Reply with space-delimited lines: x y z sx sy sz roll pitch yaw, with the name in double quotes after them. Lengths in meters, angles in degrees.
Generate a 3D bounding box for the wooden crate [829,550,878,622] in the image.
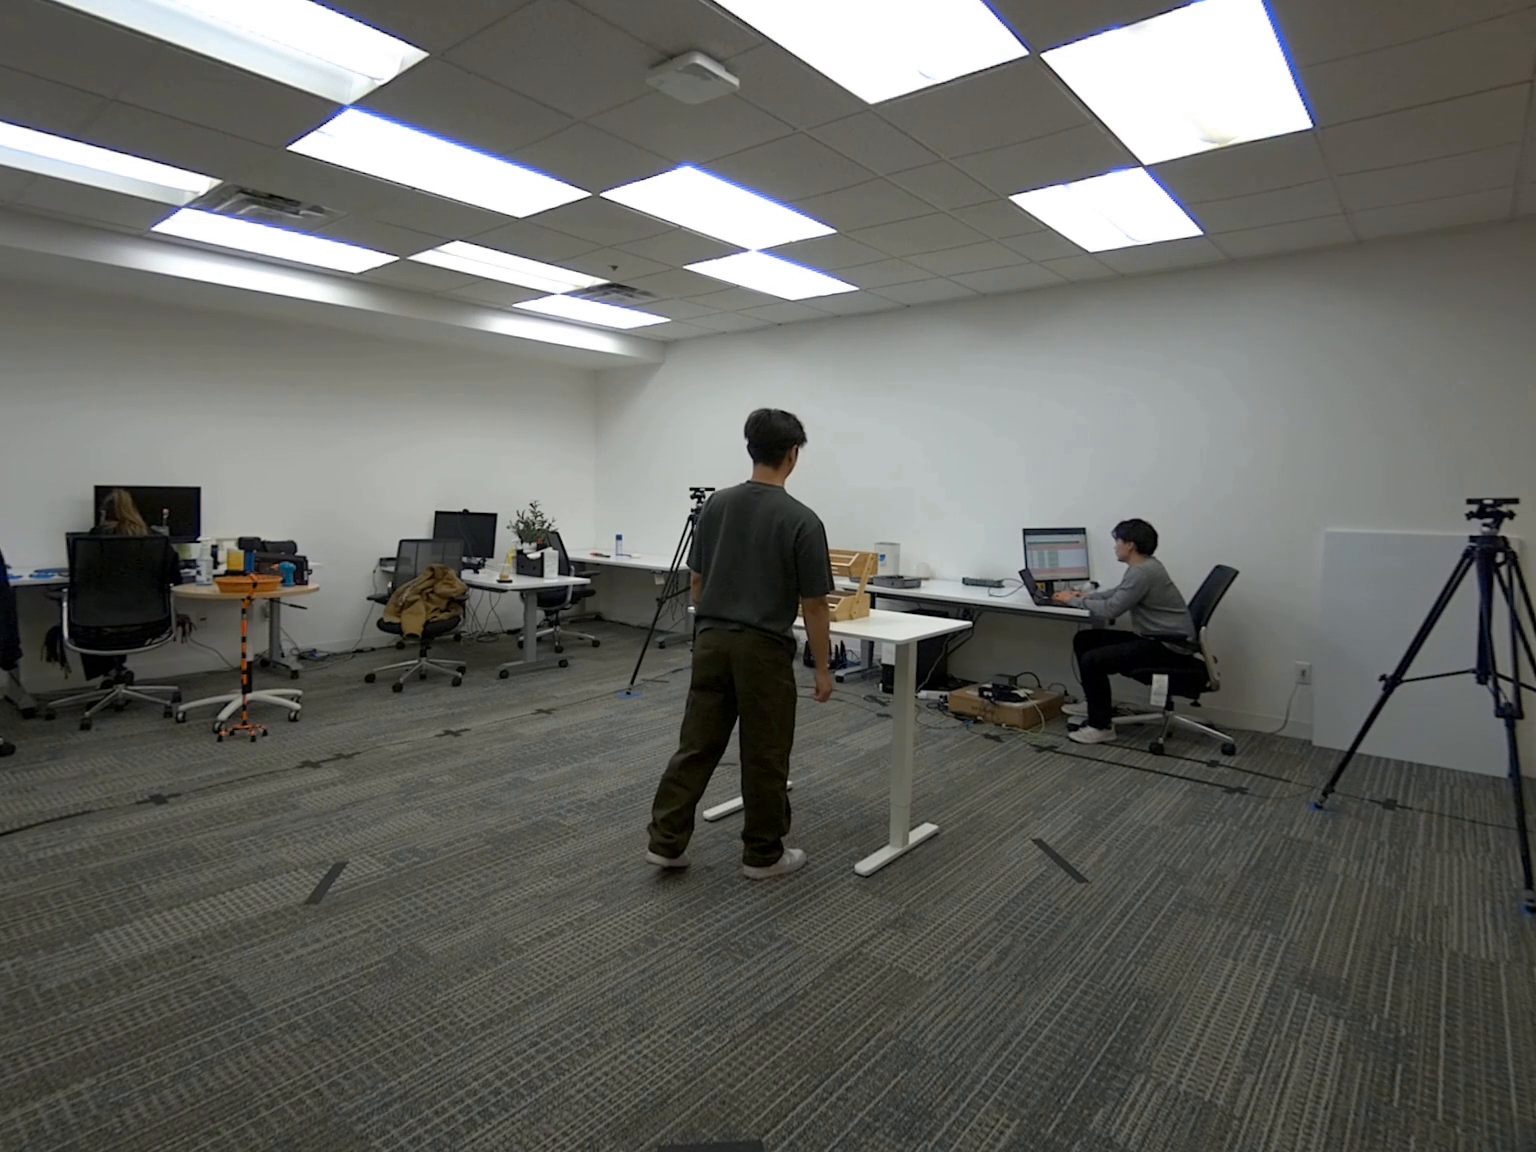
0.232 0.022 3.495 0.335 0.272 0.293 6 6 40 "wooden crate"
